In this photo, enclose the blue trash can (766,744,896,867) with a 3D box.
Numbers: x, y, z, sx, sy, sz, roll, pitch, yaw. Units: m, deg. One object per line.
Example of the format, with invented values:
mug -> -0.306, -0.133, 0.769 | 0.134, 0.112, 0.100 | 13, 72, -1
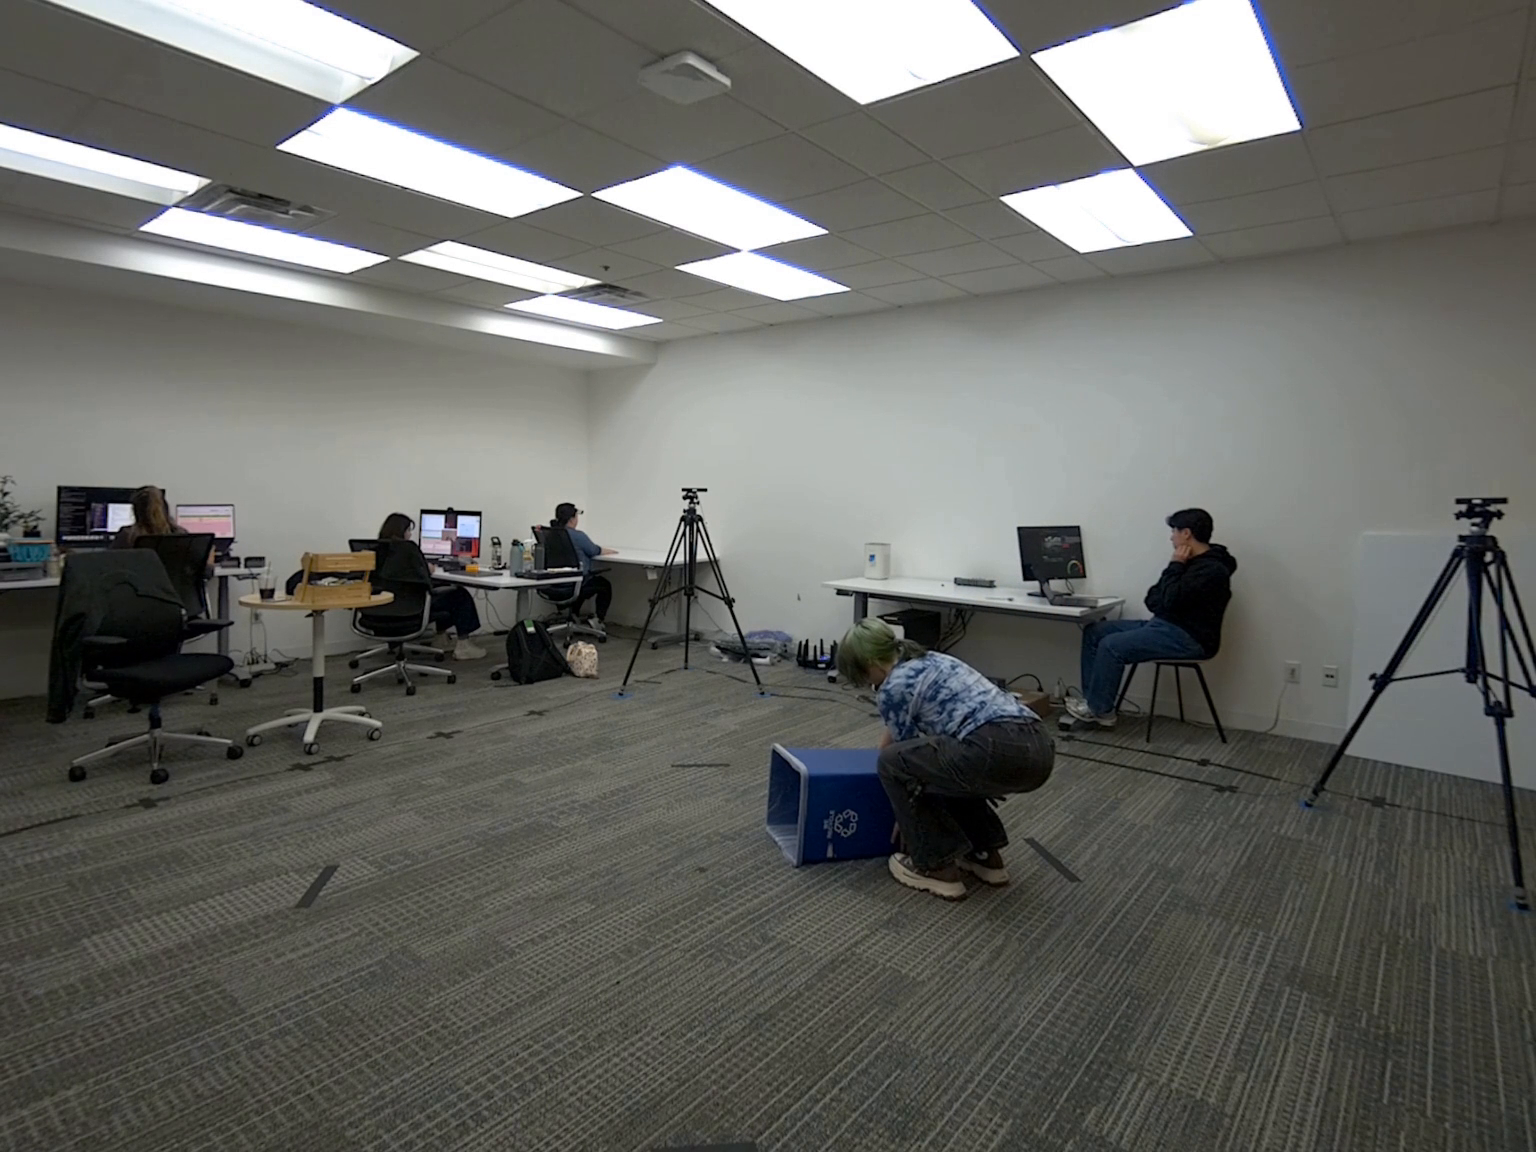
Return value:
blue trash can -> 0.377, 0.872, 3.386 | 0.701, 0.373, 0.386 | 1, 5, -16
